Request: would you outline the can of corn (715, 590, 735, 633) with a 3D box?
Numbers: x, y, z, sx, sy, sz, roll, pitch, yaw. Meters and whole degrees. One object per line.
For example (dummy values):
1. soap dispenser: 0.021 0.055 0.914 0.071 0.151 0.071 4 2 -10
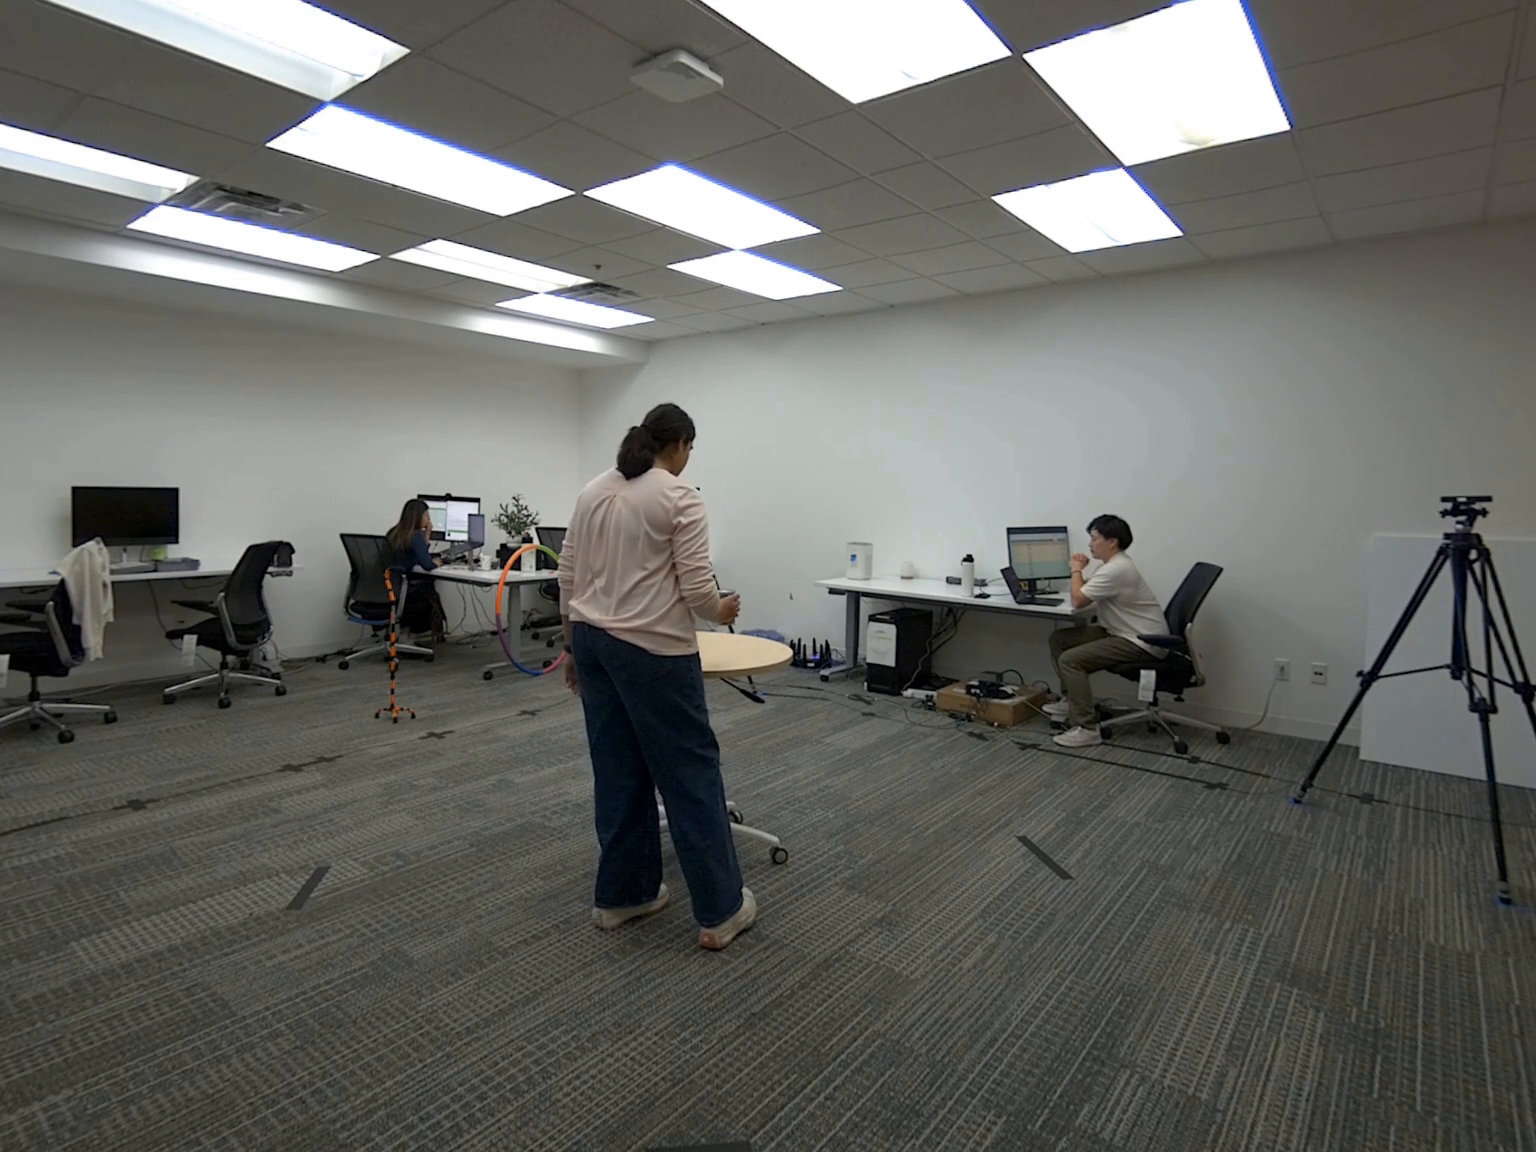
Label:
1. can of corn: -0.157 0.109 2.869 0.074 0.110 0.075 2 7 -2
